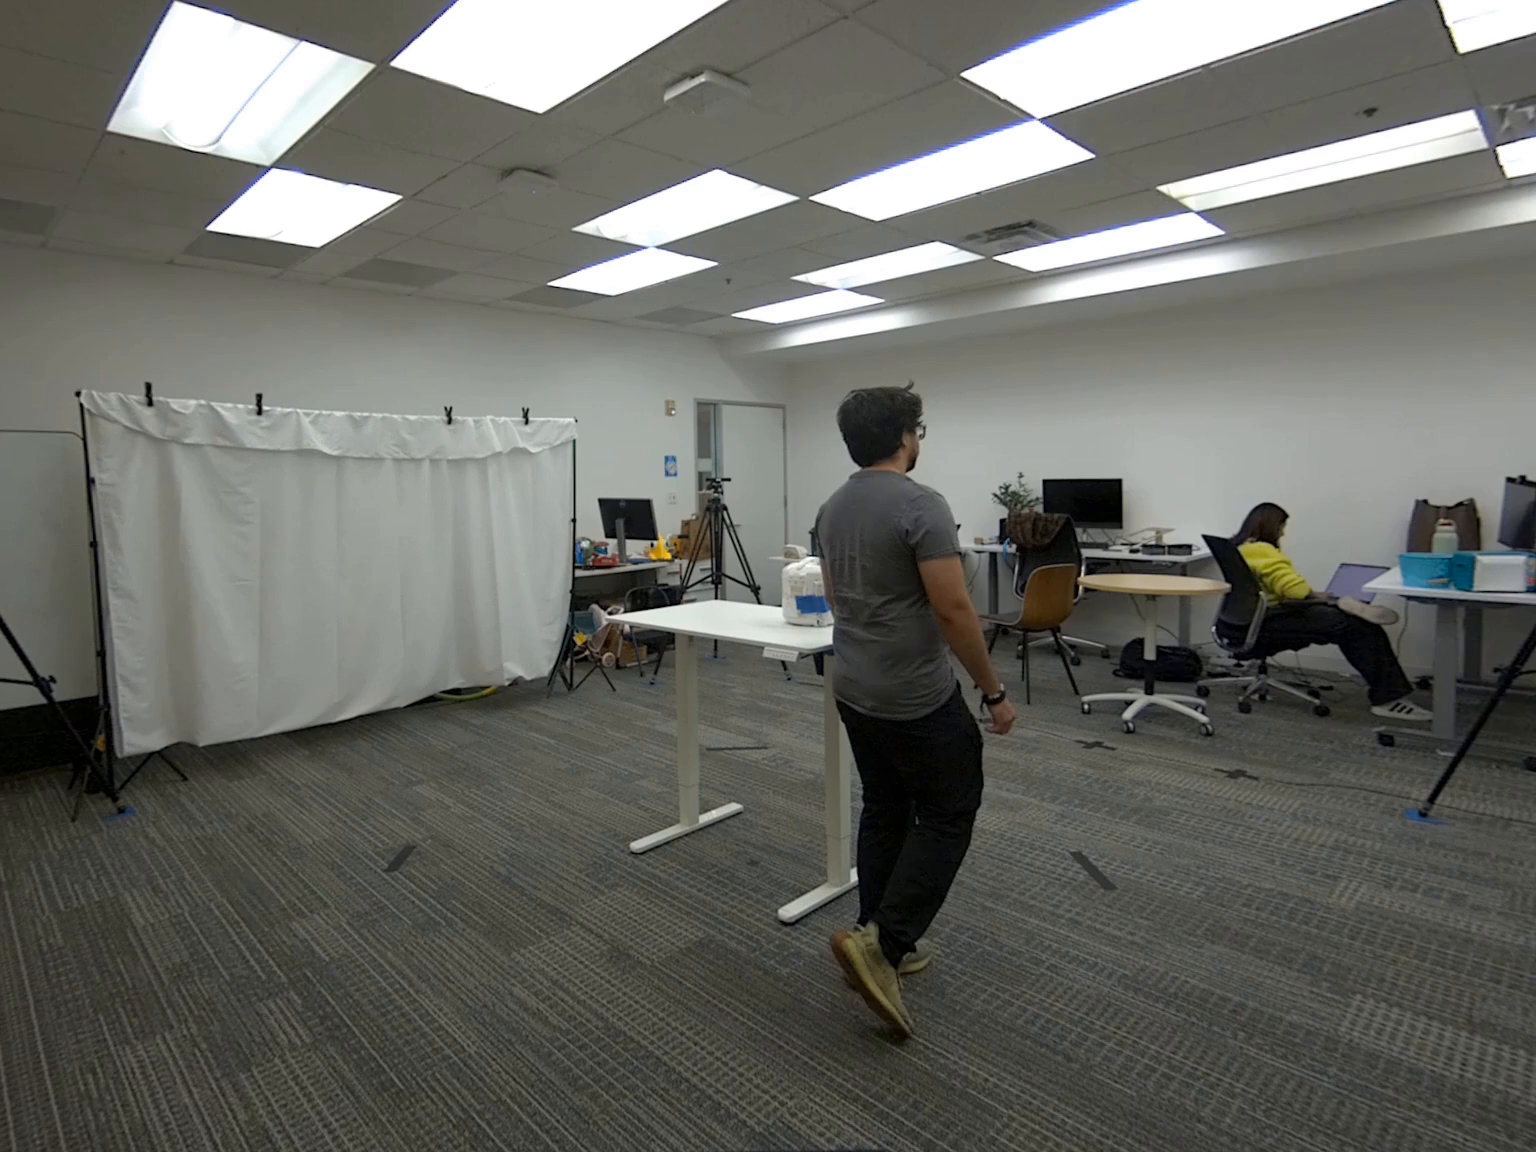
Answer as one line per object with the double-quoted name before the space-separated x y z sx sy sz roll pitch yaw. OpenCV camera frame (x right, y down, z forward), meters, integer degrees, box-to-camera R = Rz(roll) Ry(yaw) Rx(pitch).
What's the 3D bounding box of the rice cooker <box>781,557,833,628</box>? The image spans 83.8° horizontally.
"rice cooker" 0.153 0.049 2.998 0.223 0.232 0.215 3 6 34
